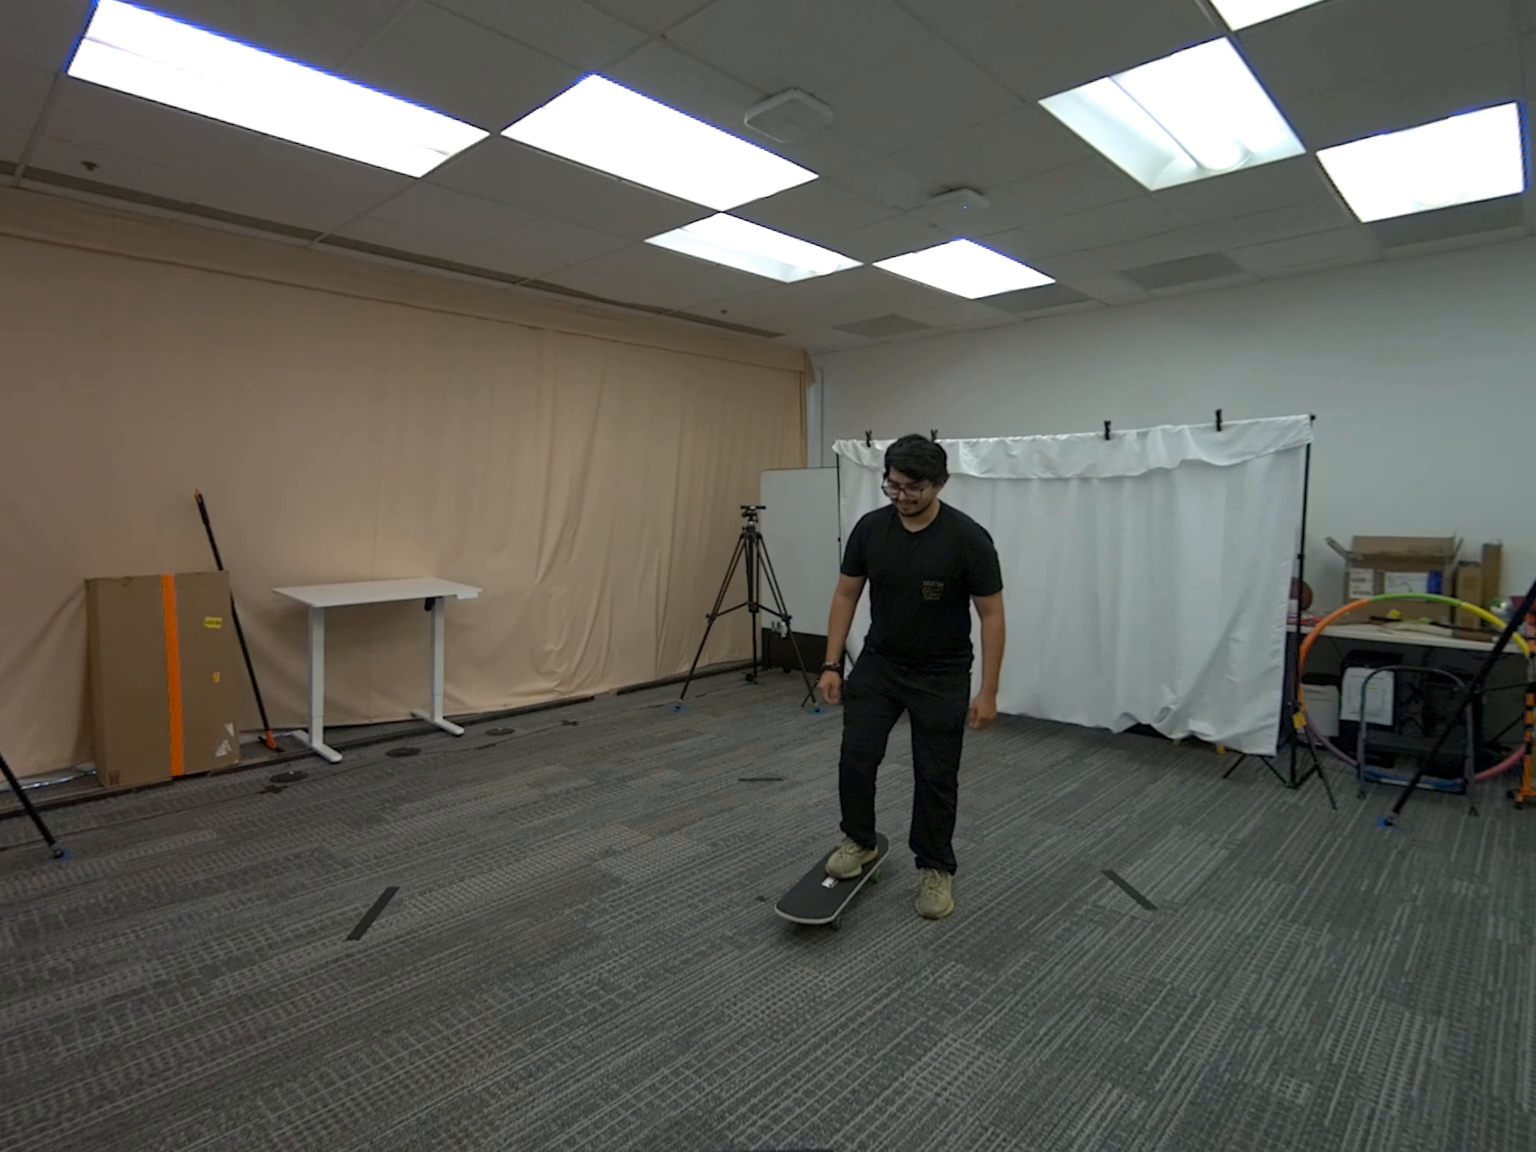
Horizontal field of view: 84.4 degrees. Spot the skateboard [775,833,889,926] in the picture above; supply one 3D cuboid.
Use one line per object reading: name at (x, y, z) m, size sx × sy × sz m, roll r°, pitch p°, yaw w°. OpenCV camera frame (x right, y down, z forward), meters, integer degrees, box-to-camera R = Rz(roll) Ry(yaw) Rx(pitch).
skateboard at (0.252, 1.091, 2.972) m, size 0.199 × 0.110 × 0.766 m, roll 4°, pitch 6°, yaw 26°
